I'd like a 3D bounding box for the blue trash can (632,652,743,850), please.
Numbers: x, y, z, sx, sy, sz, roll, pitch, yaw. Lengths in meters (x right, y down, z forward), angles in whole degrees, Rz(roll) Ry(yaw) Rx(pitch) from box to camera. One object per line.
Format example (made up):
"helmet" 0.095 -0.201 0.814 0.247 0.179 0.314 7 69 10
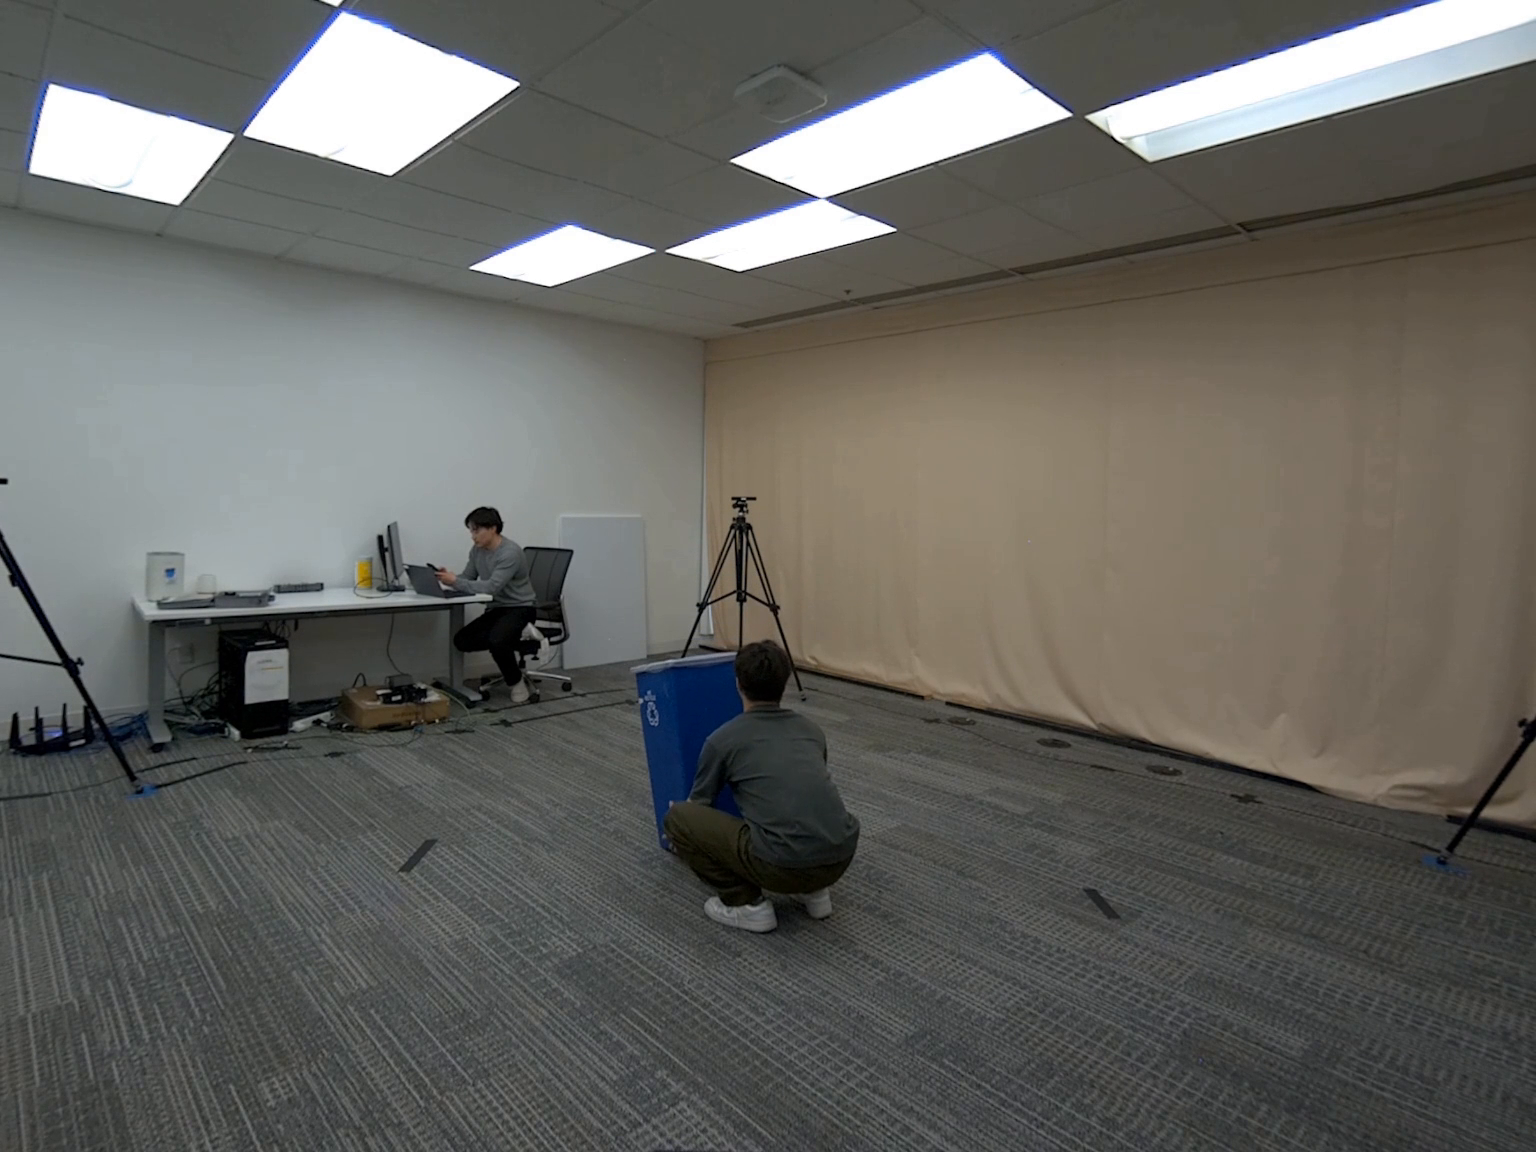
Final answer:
"blue trash can" -0.287 0.687 3.353 0.366 0.719 0.383 -2 -10 -31
